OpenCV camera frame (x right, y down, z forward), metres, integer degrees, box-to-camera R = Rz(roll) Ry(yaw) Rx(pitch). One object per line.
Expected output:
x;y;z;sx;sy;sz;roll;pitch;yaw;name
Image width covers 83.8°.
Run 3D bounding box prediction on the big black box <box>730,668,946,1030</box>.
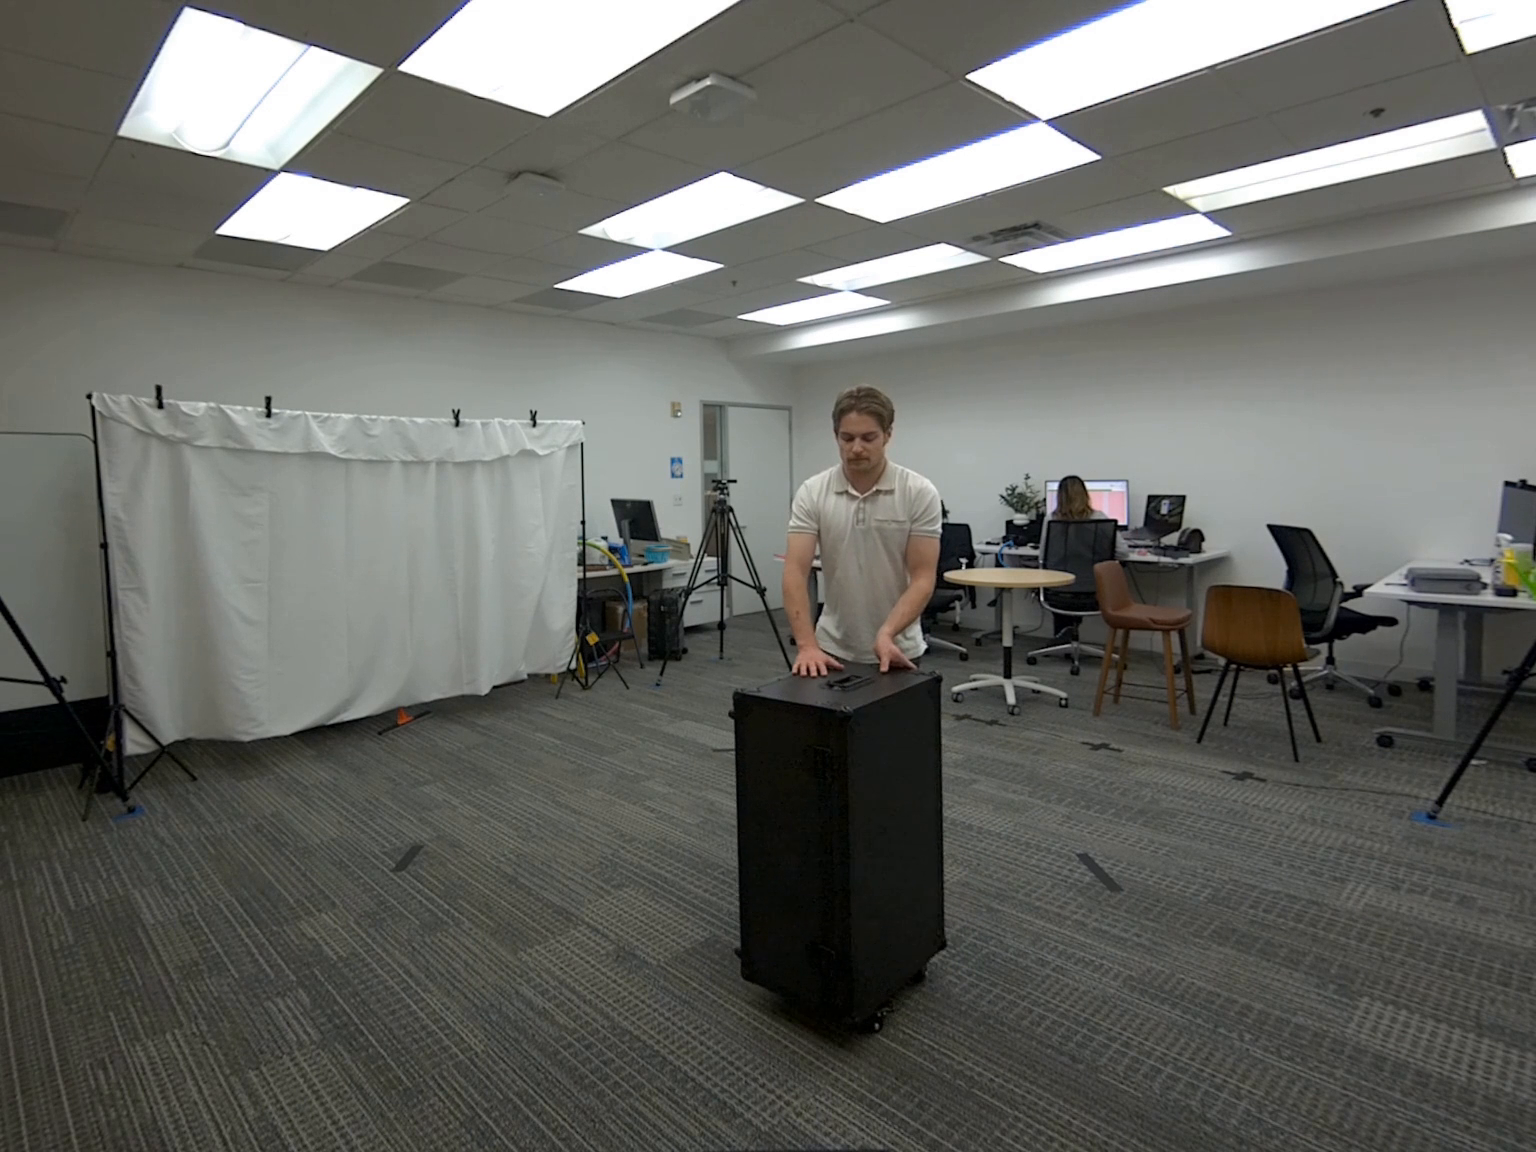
0.200;0.714;2.321;0.396;0.866;0.510;1;5;38;big black box
